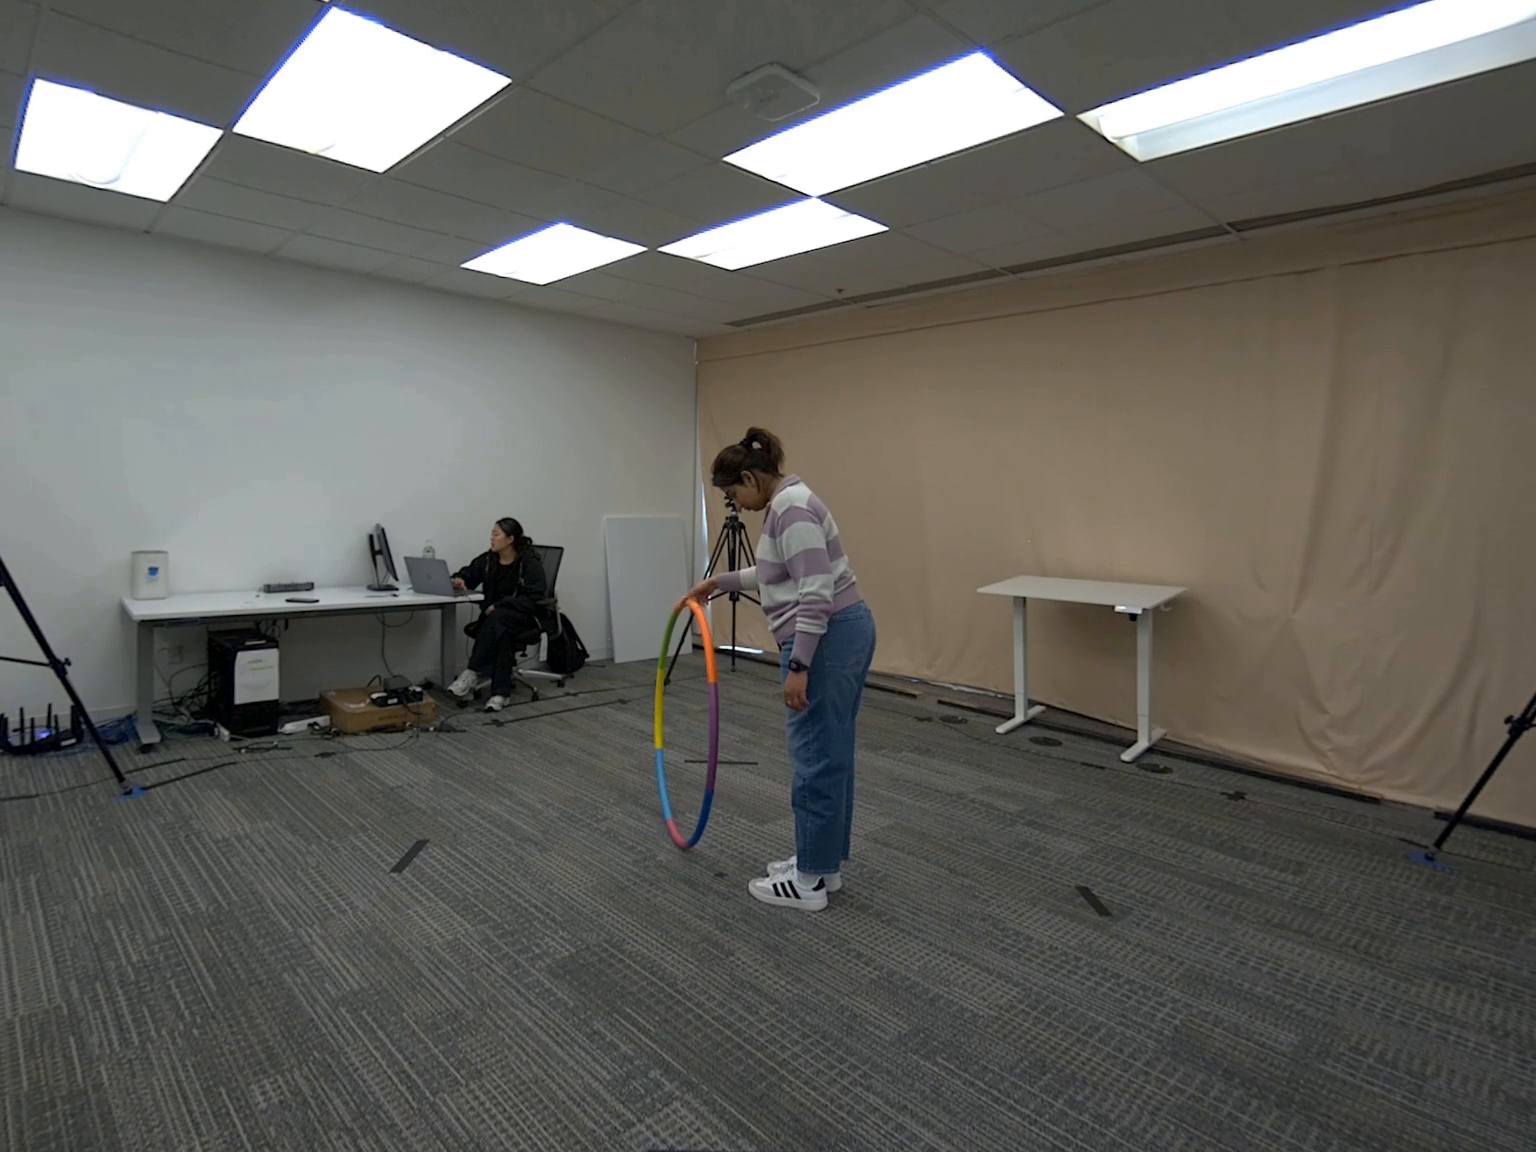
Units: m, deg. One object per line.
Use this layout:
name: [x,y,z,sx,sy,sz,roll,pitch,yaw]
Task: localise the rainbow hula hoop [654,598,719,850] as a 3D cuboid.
rainbow hula hoop: [-0.354,0.586,3.406,0.035,0.977,0.994,3,4,-19]
